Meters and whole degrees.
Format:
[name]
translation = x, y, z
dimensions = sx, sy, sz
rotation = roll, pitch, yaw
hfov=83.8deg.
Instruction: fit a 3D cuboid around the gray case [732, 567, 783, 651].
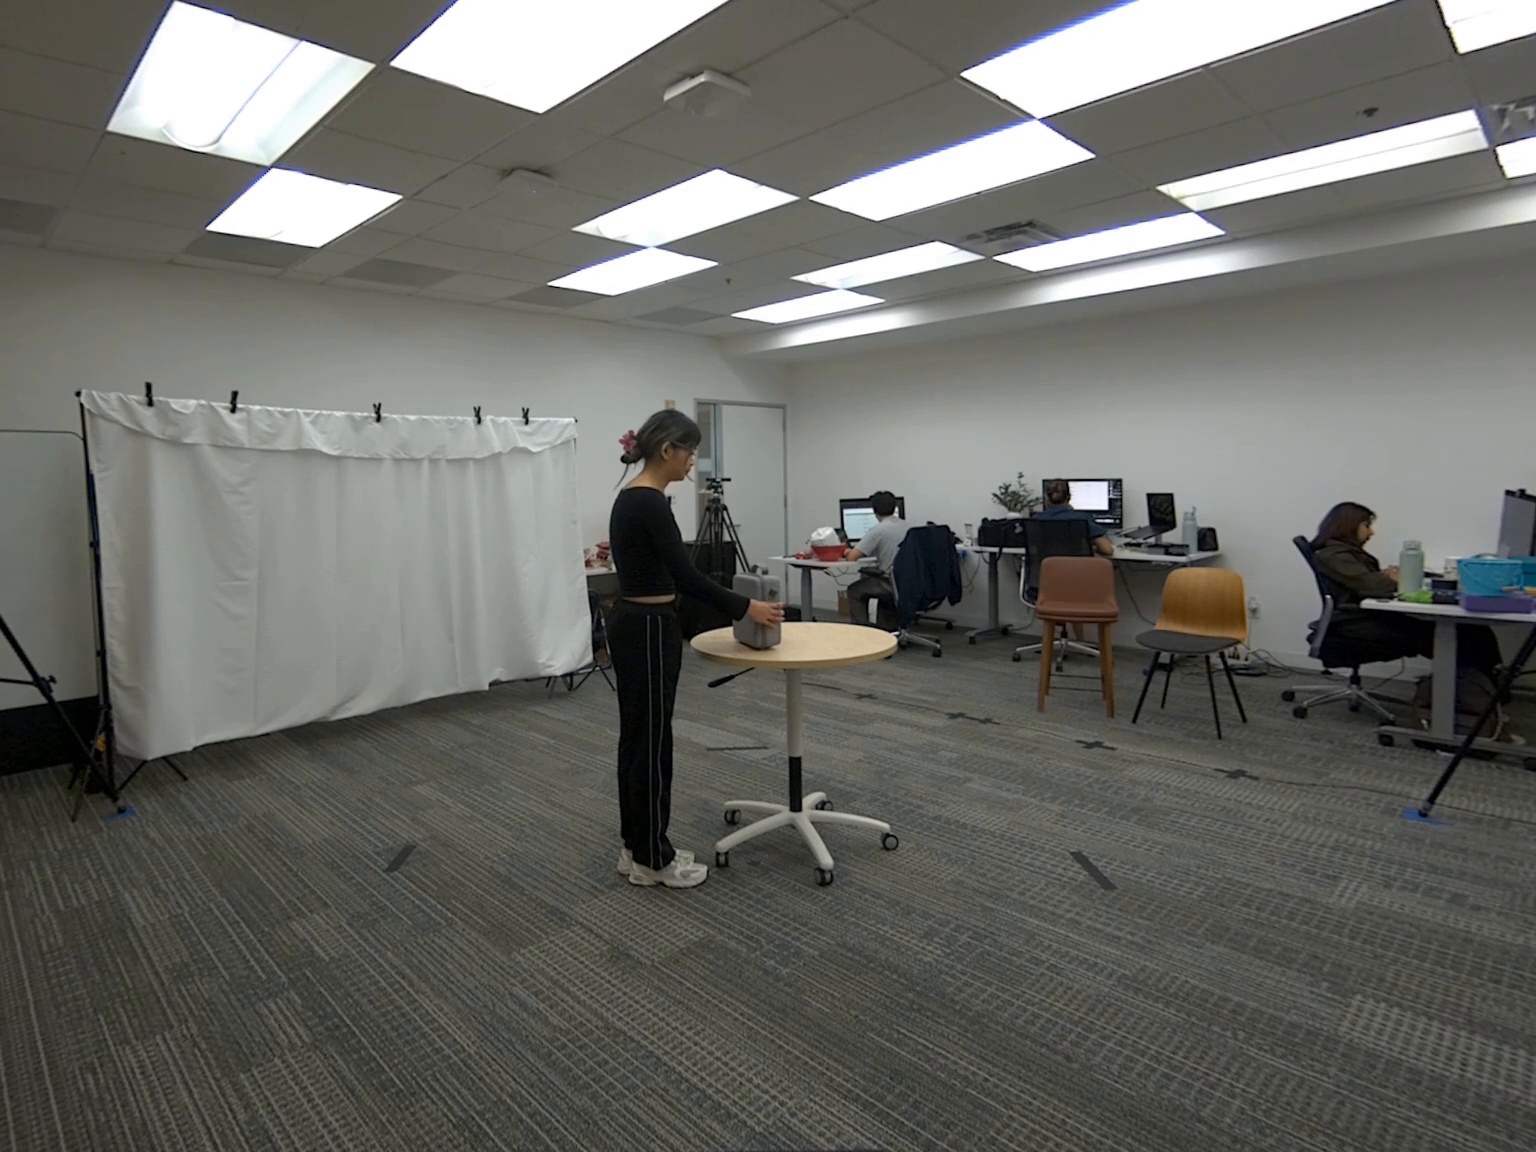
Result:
[gray case]
translation = -0.046, 0.116, 3.092
dimensions = 0.102, 0.260, 0.262
rotation = -1, 2, -20
